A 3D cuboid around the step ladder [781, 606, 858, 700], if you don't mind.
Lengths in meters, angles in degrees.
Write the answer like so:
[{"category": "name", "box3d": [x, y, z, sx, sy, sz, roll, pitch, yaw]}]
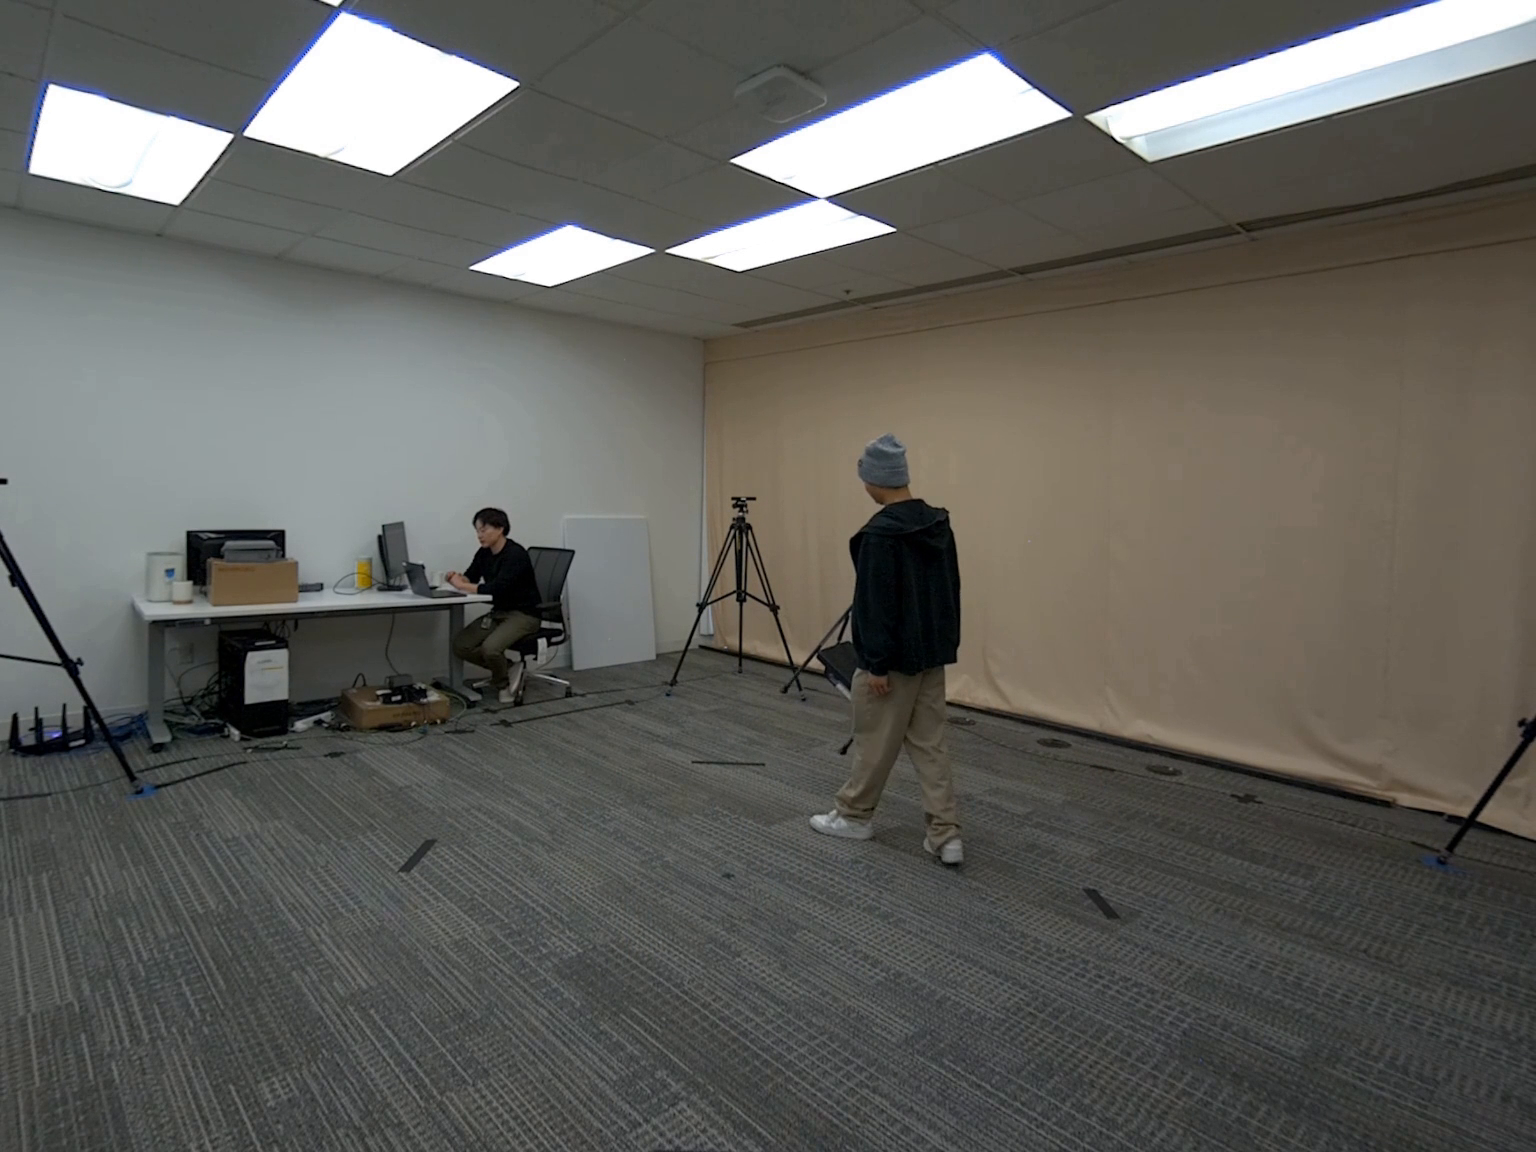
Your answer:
[{"category": "step ladder", "box3d": [0.394, 0.409, 3.801, 0.343, 0.600, 0.442, -13, 48, -46]}]
